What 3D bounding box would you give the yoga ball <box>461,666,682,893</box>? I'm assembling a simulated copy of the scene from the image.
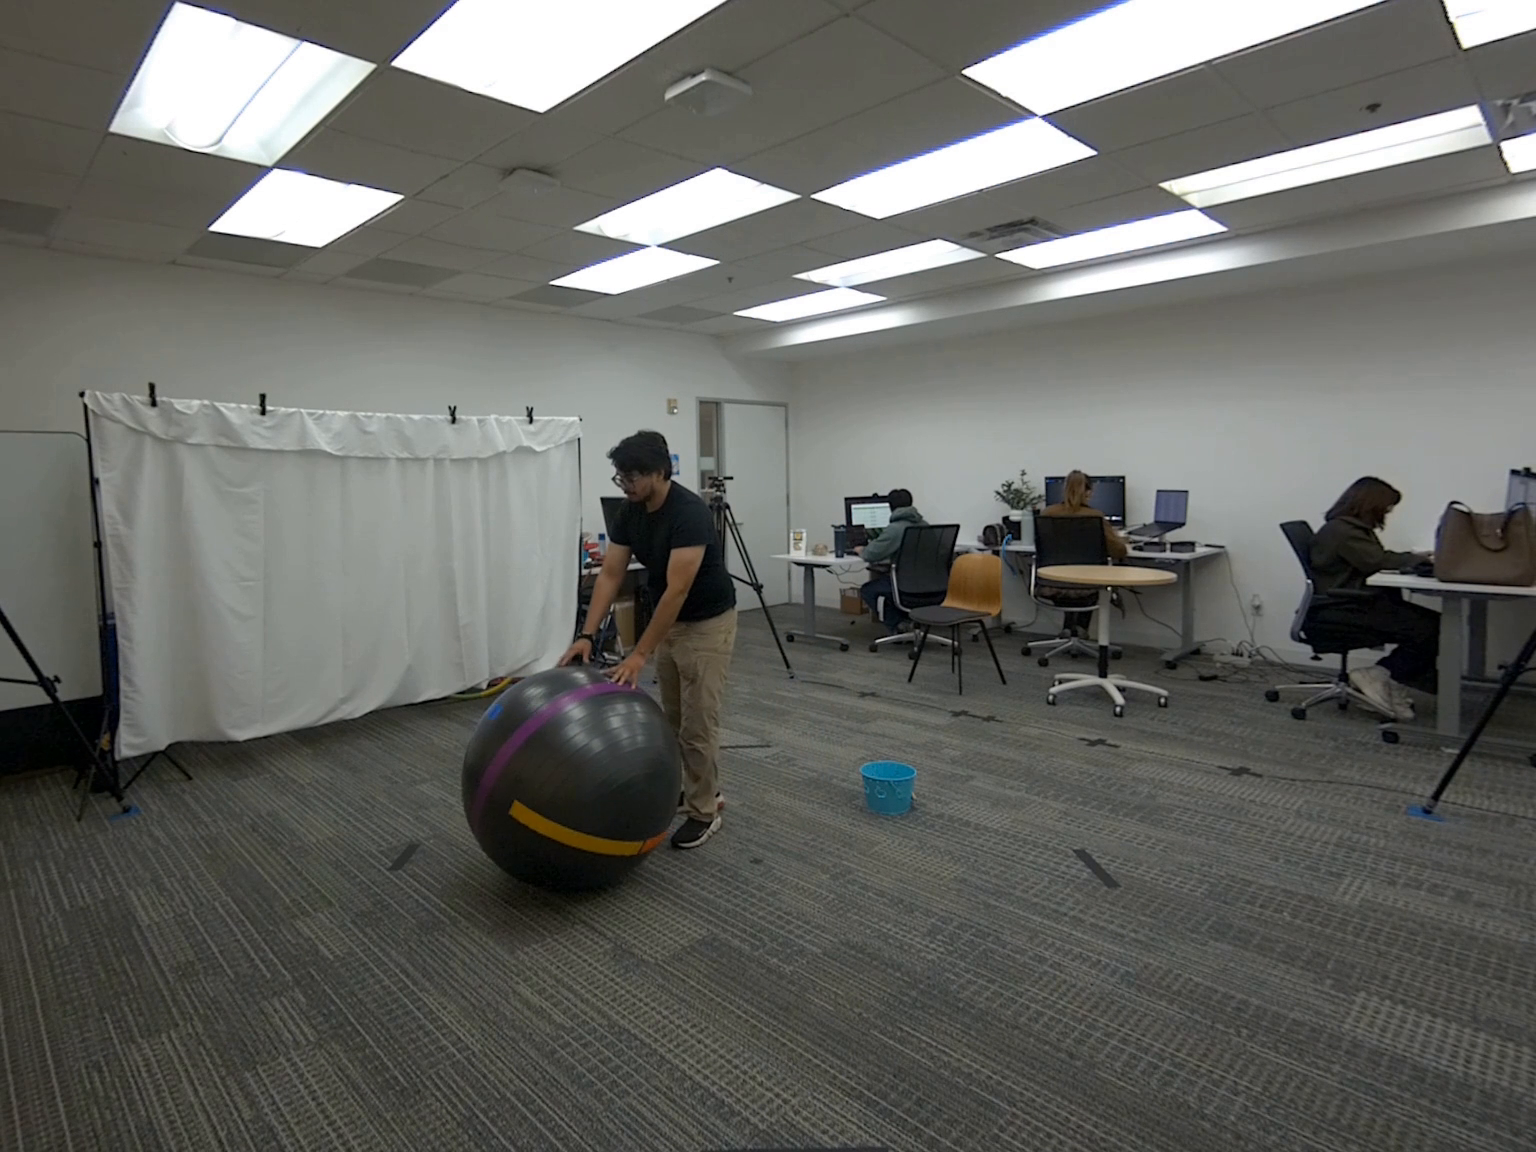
[{"bbox_3d":[-0.682,0.702,2.992,0.757,0.755,0.762,-1,5,-2],"label":"yoga ball"}]
